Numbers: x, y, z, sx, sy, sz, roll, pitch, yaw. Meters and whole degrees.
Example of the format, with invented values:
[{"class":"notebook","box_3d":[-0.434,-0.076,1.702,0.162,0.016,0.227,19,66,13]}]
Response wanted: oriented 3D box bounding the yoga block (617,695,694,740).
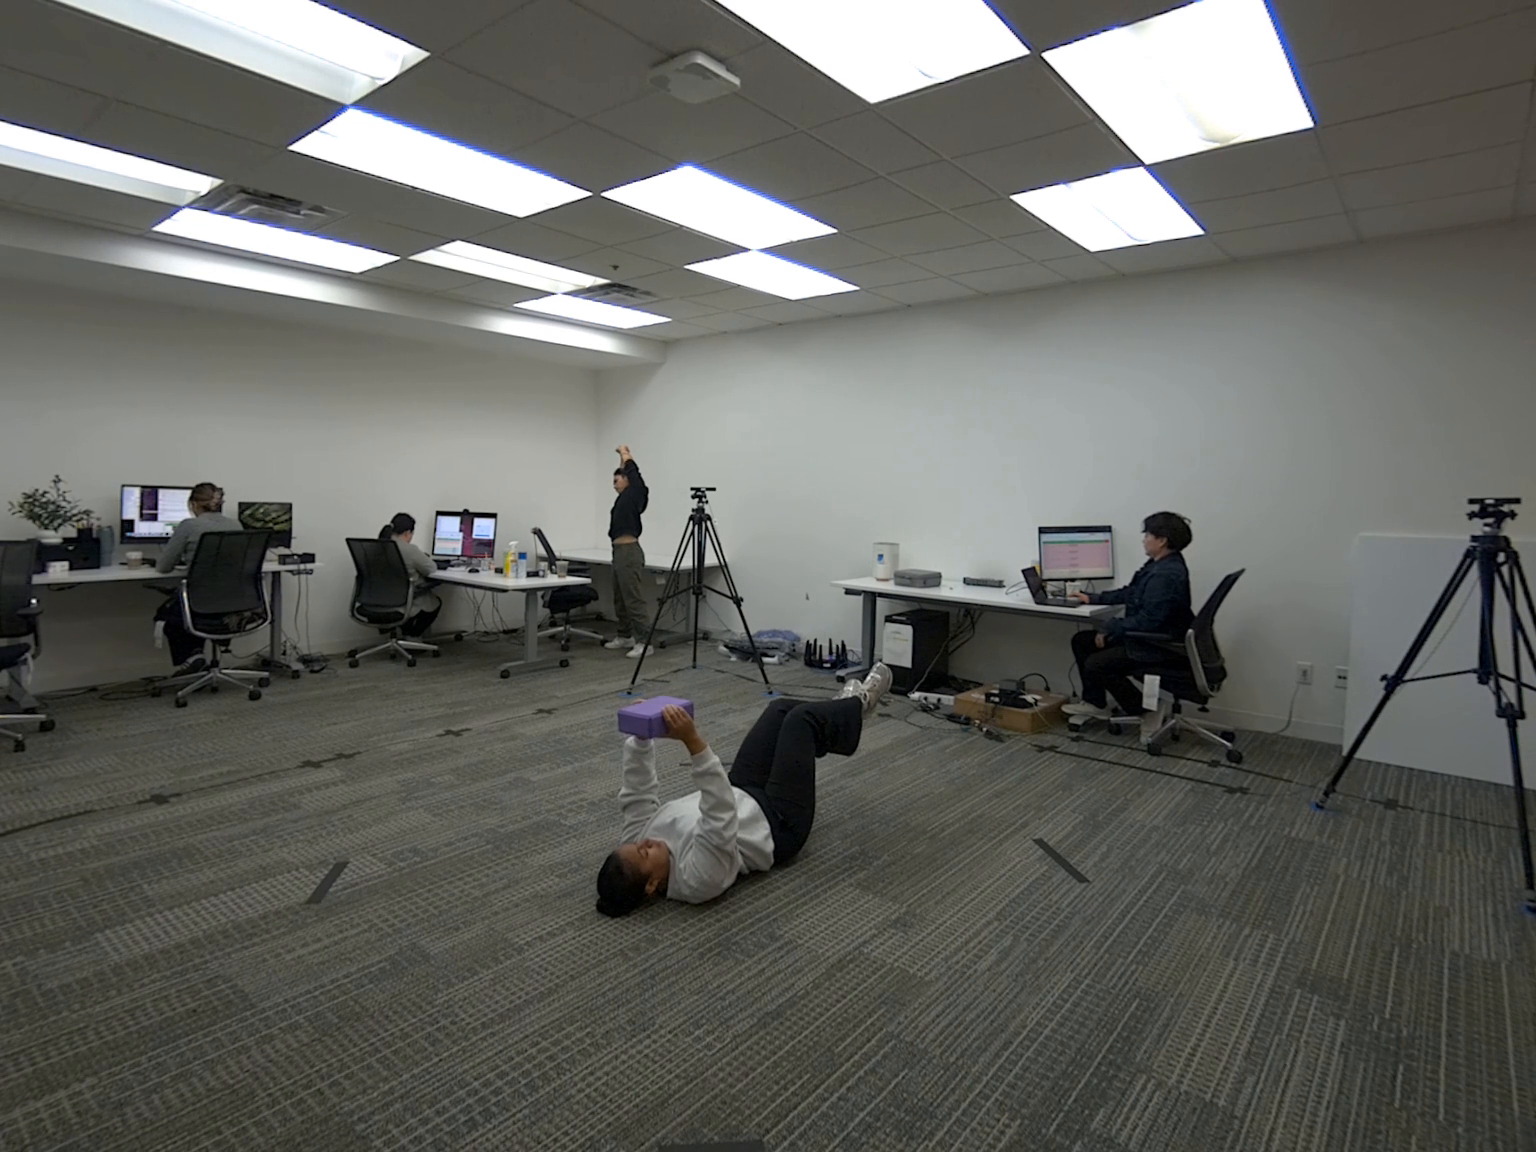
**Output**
[{"class":"yoga block","box_3d":[-0.364,0.474,2.831,0.153,0.076,0.223,3,7,34]}]
